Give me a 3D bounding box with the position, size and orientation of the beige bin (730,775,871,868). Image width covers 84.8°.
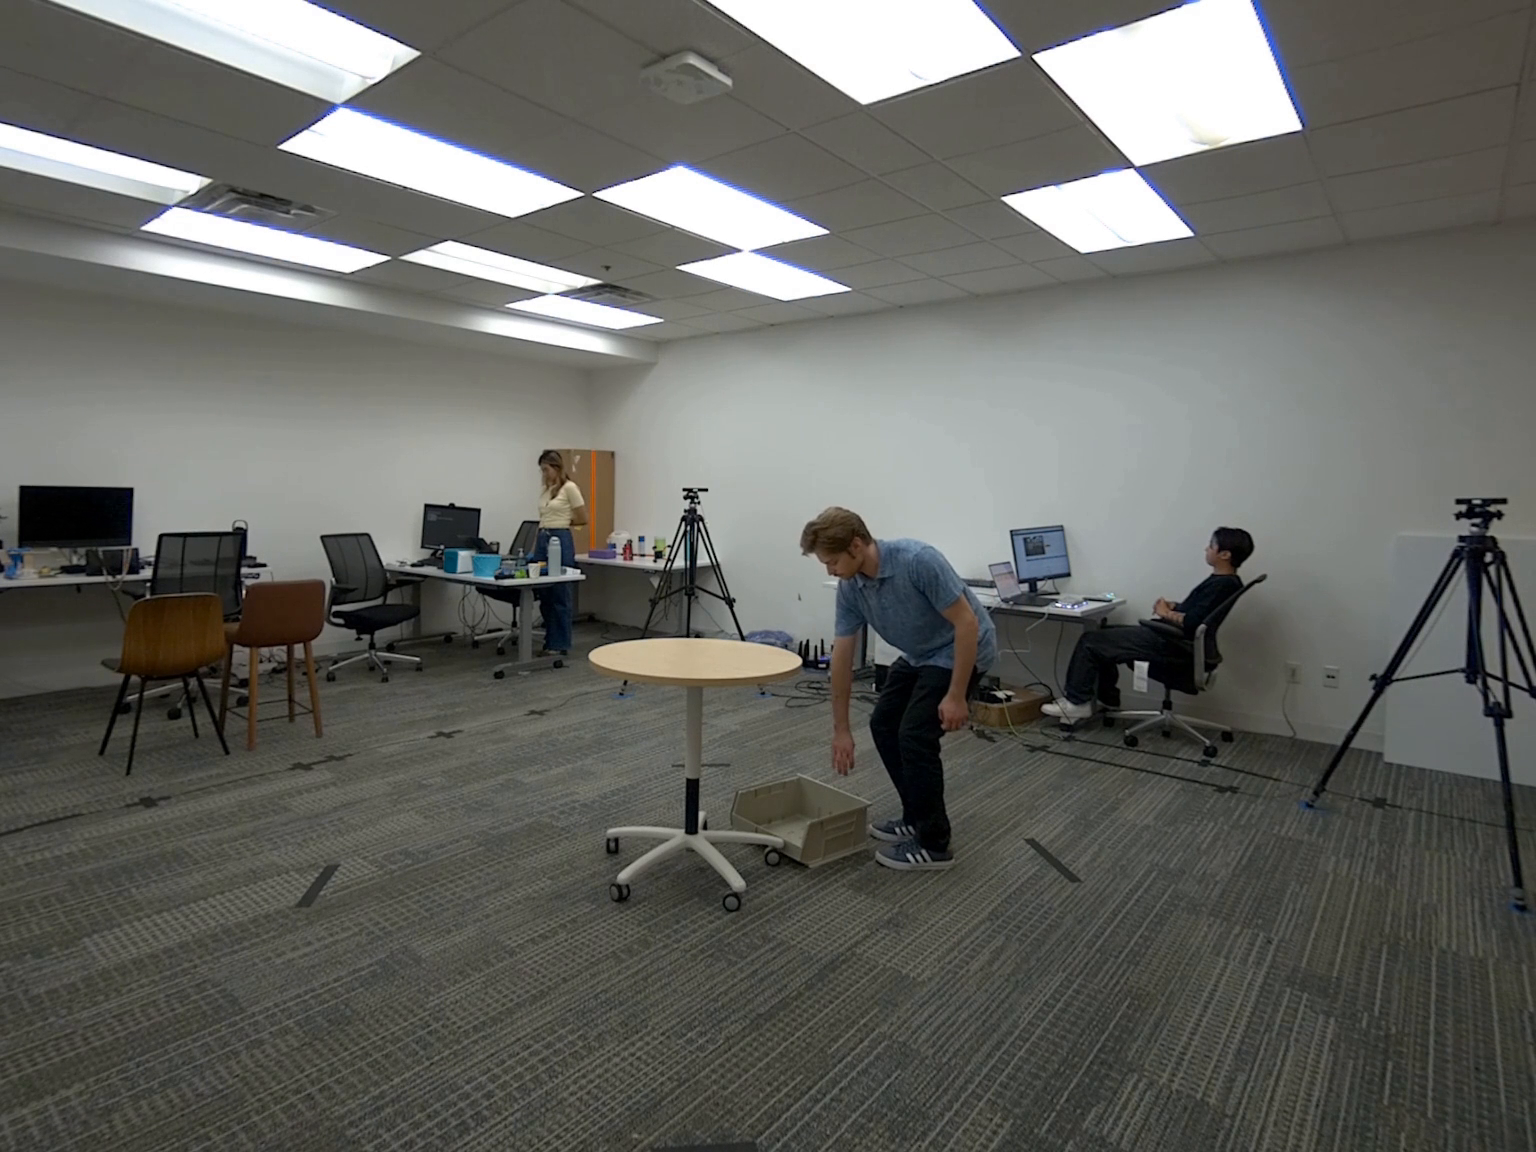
[{"bbox_3d":[0.120,0.963,3.377,0.366,0.188,0.437,-1,5,-41],"label":"beige bin"}]
